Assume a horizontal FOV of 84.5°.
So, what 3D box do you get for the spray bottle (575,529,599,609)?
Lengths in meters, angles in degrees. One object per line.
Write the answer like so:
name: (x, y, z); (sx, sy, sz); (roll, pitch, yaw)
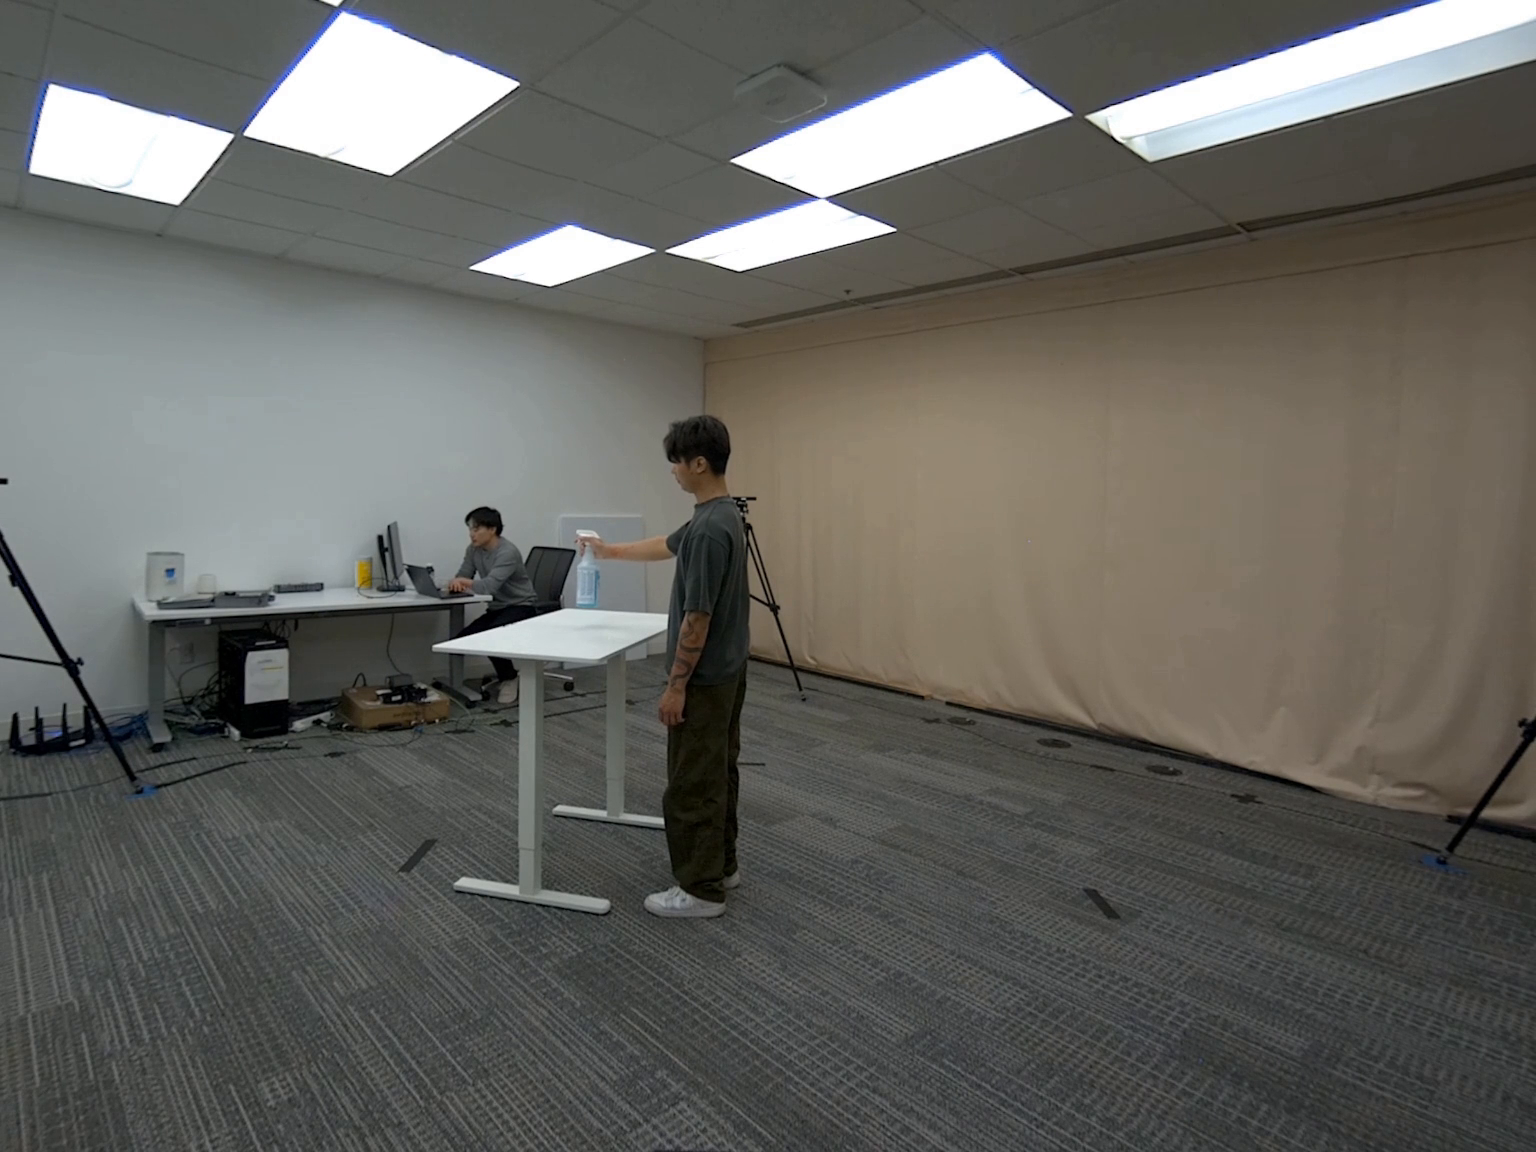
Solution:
spray bottle: (-0.699, -0.027, 3.256); (0.092, 0.297, 0.085); (2, 1, 34)
